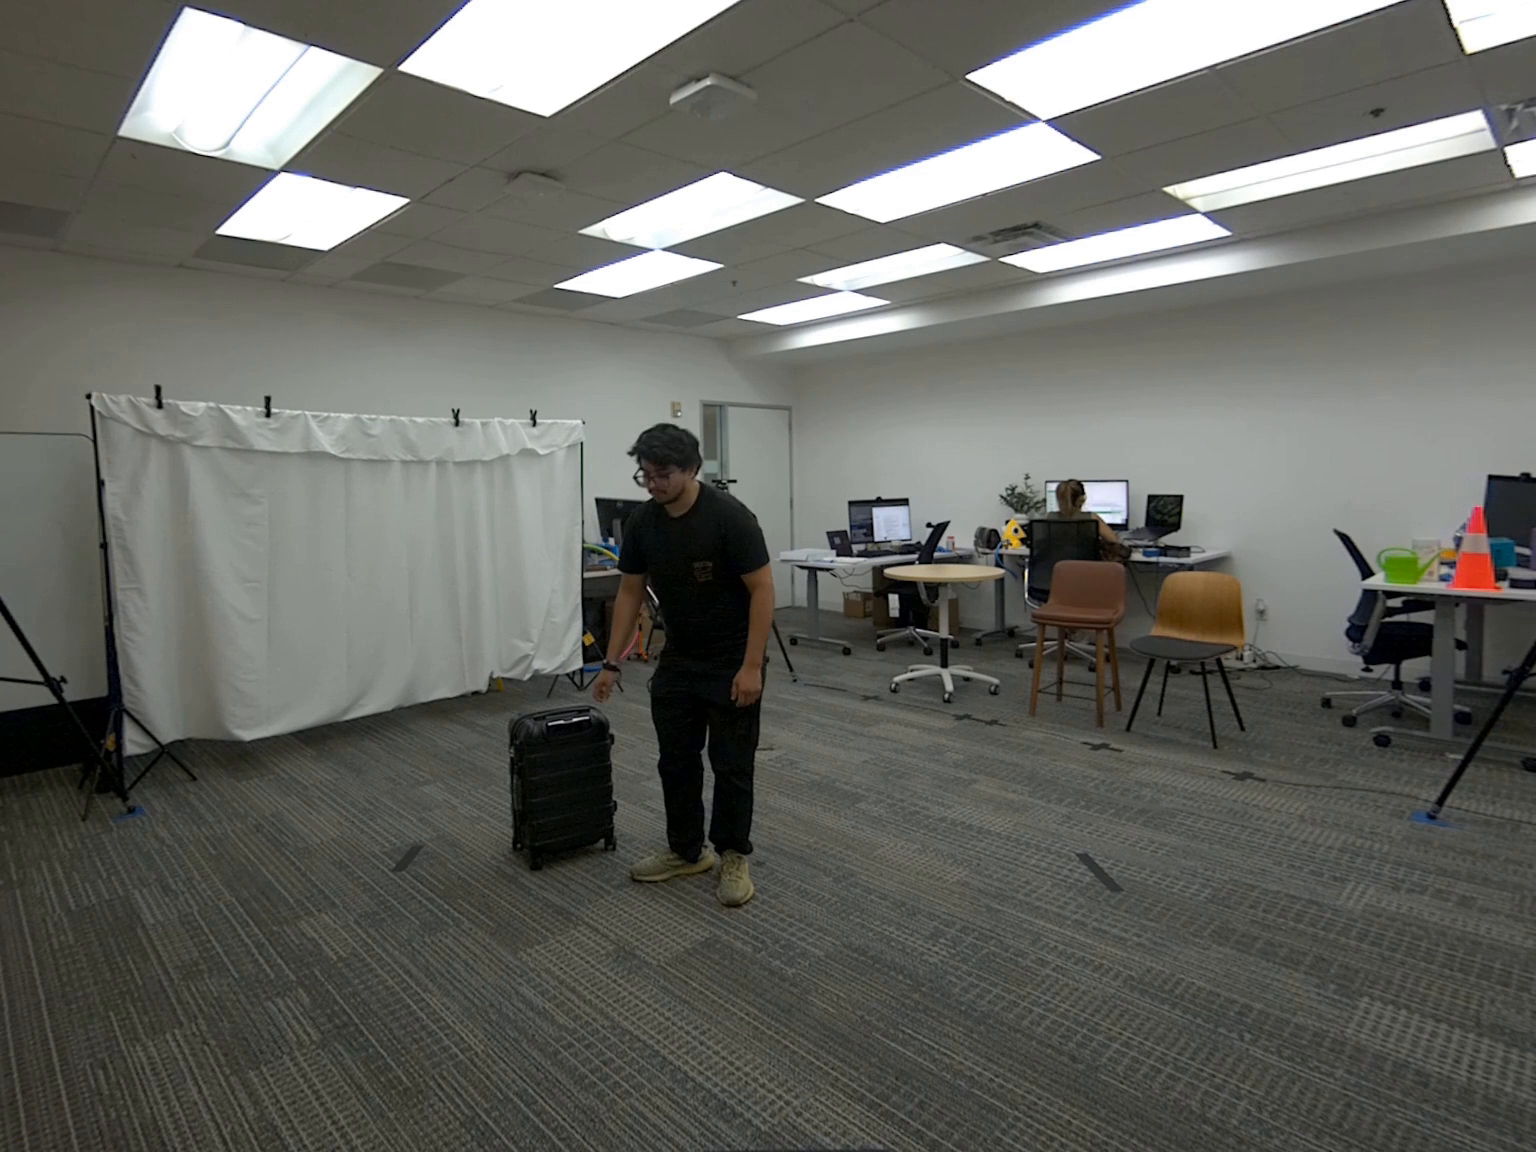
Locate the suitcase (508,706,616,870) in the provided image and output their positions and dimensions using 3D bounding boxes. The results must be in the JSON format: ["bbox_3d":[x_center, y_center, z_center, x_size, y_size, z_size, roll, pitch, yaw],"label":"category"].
[{"bbox_3d":[-0.783,0.777,3.241,0.366,0.547,0.255,-4,6,-32],"label":"suitcase"}]
